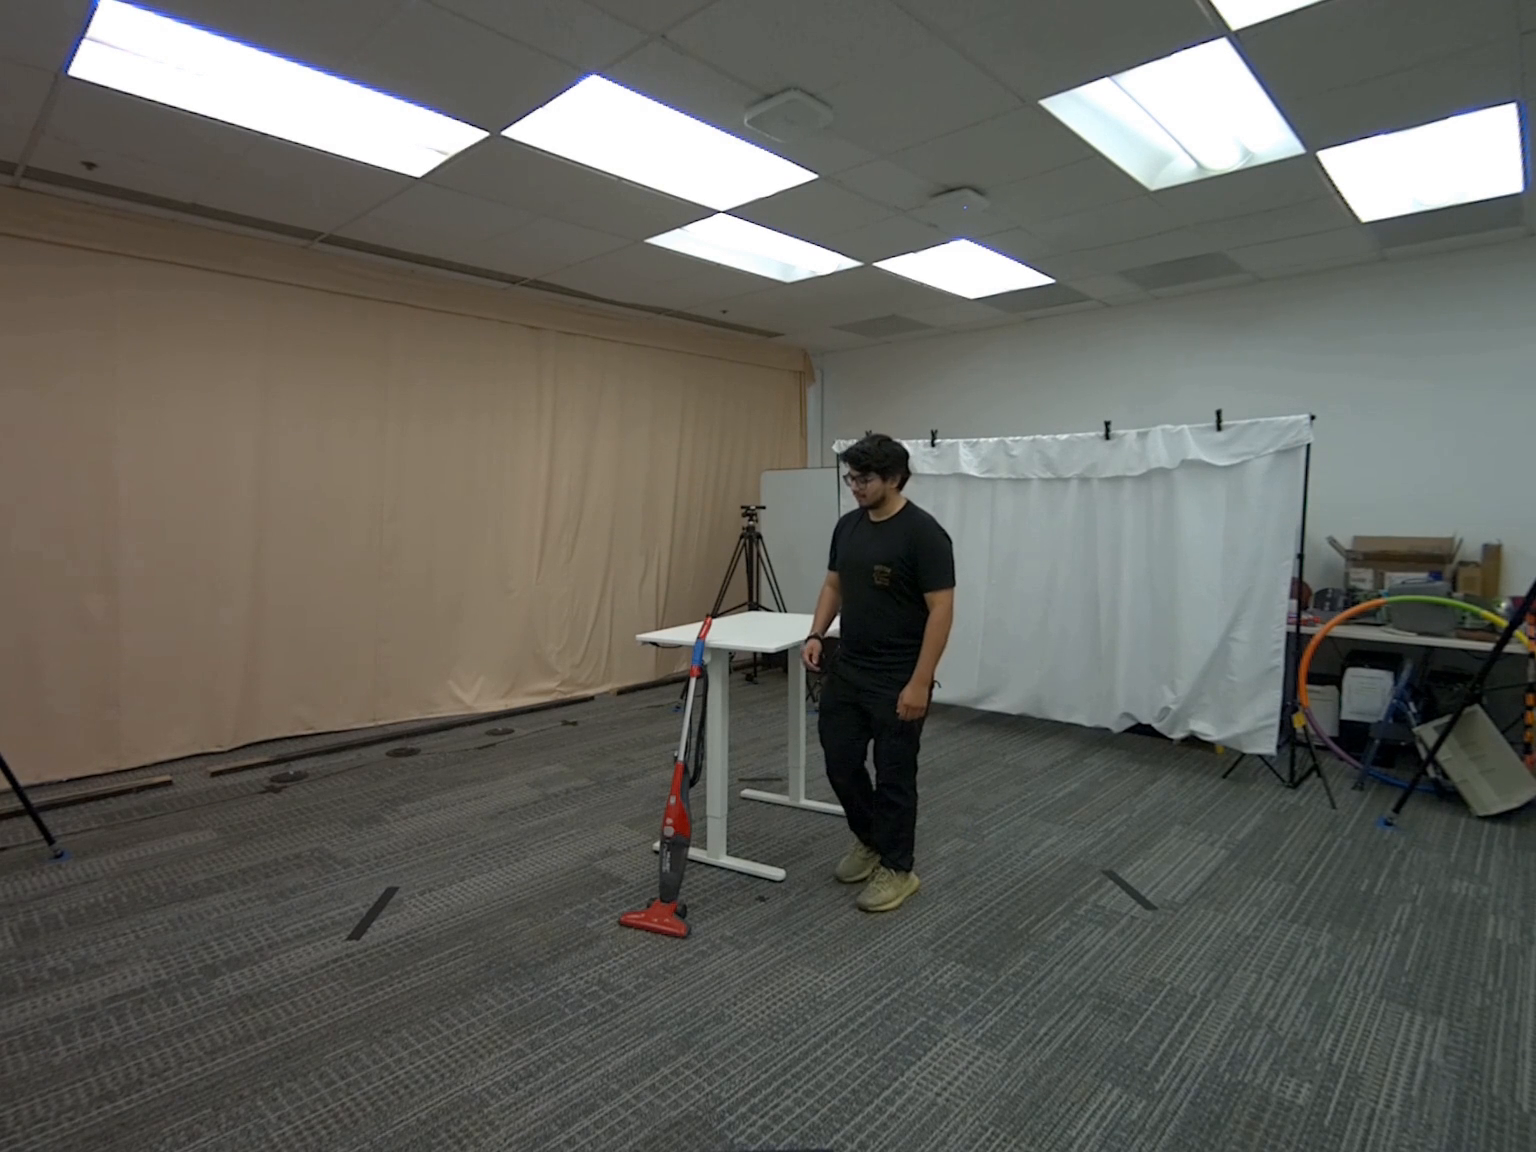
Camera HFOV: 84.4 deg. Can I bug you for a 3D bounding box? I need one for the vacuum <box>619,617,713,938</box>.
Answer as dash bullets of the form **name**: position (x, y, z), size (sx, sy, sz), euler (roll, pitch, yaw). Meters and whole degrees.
- **vacuum**: position (-0.295, 0.671, 2.982), size (0.259, 1.058, 0.139), euler (1, -20, 23)
